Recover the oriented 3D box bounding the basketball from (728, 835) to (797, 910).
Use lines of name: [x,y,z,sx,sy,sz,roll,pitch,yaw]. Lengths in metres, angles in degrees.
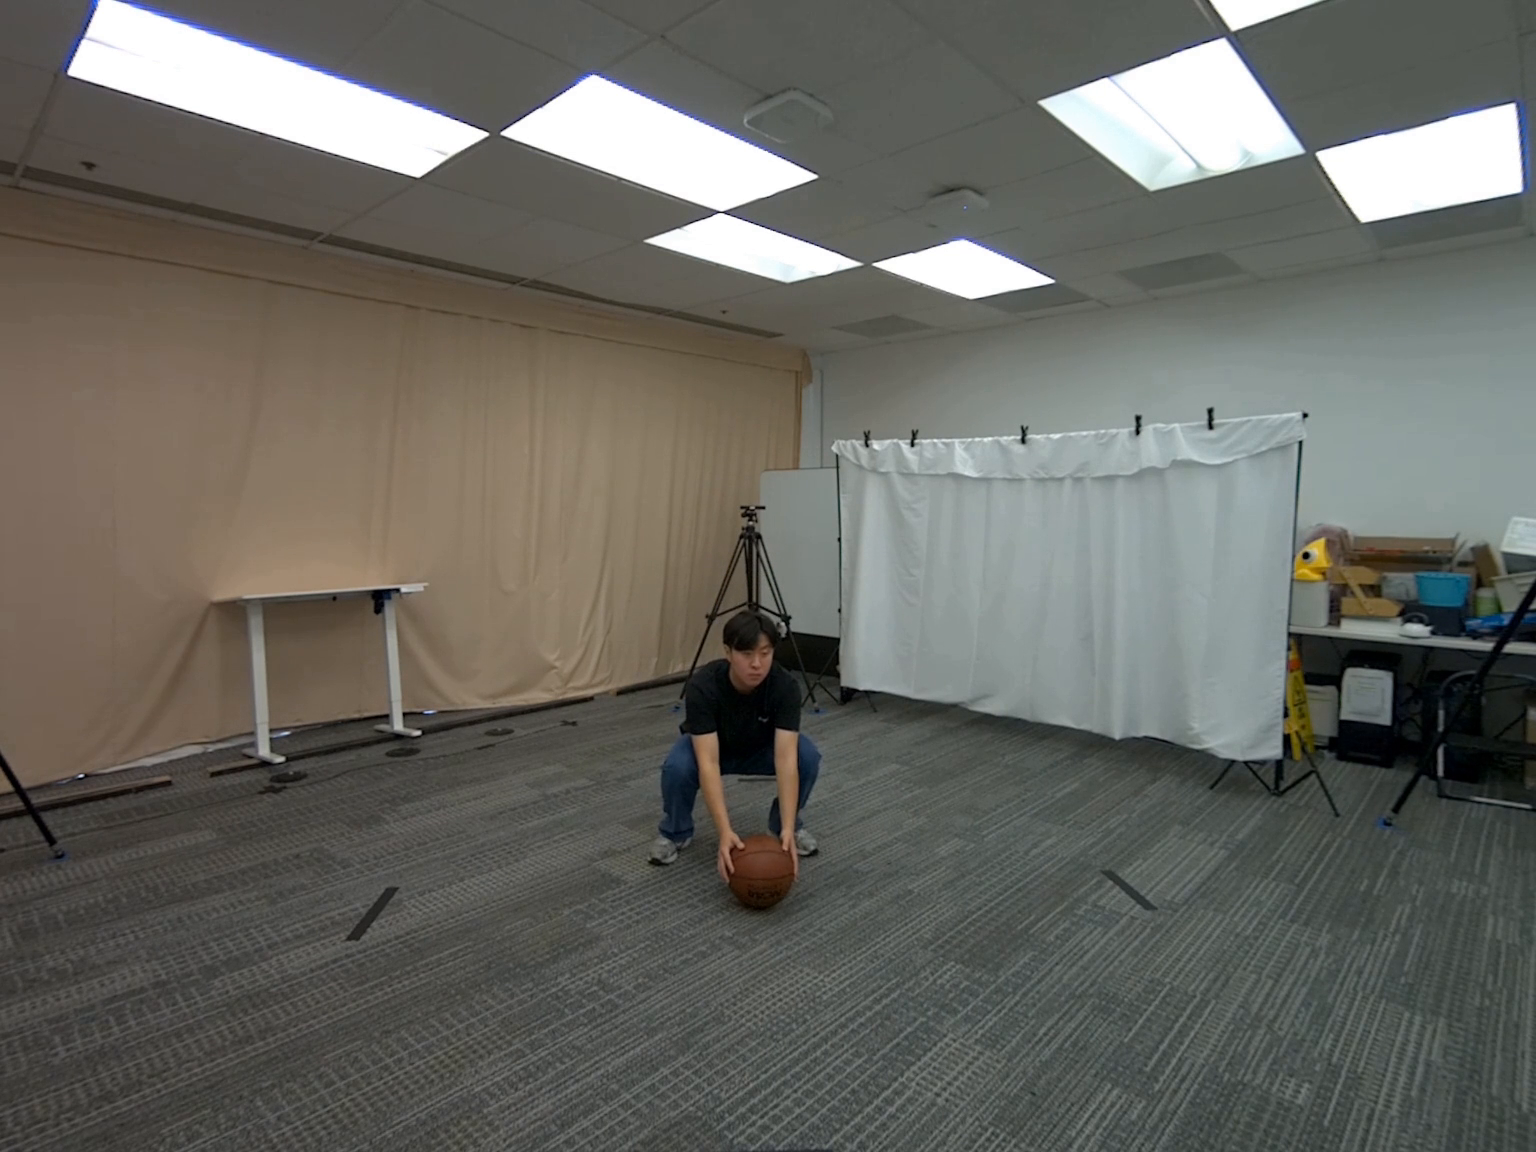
basketball: [-0.024,1.013,2.931,0.236,0.235,0.237,0,4,-2]
